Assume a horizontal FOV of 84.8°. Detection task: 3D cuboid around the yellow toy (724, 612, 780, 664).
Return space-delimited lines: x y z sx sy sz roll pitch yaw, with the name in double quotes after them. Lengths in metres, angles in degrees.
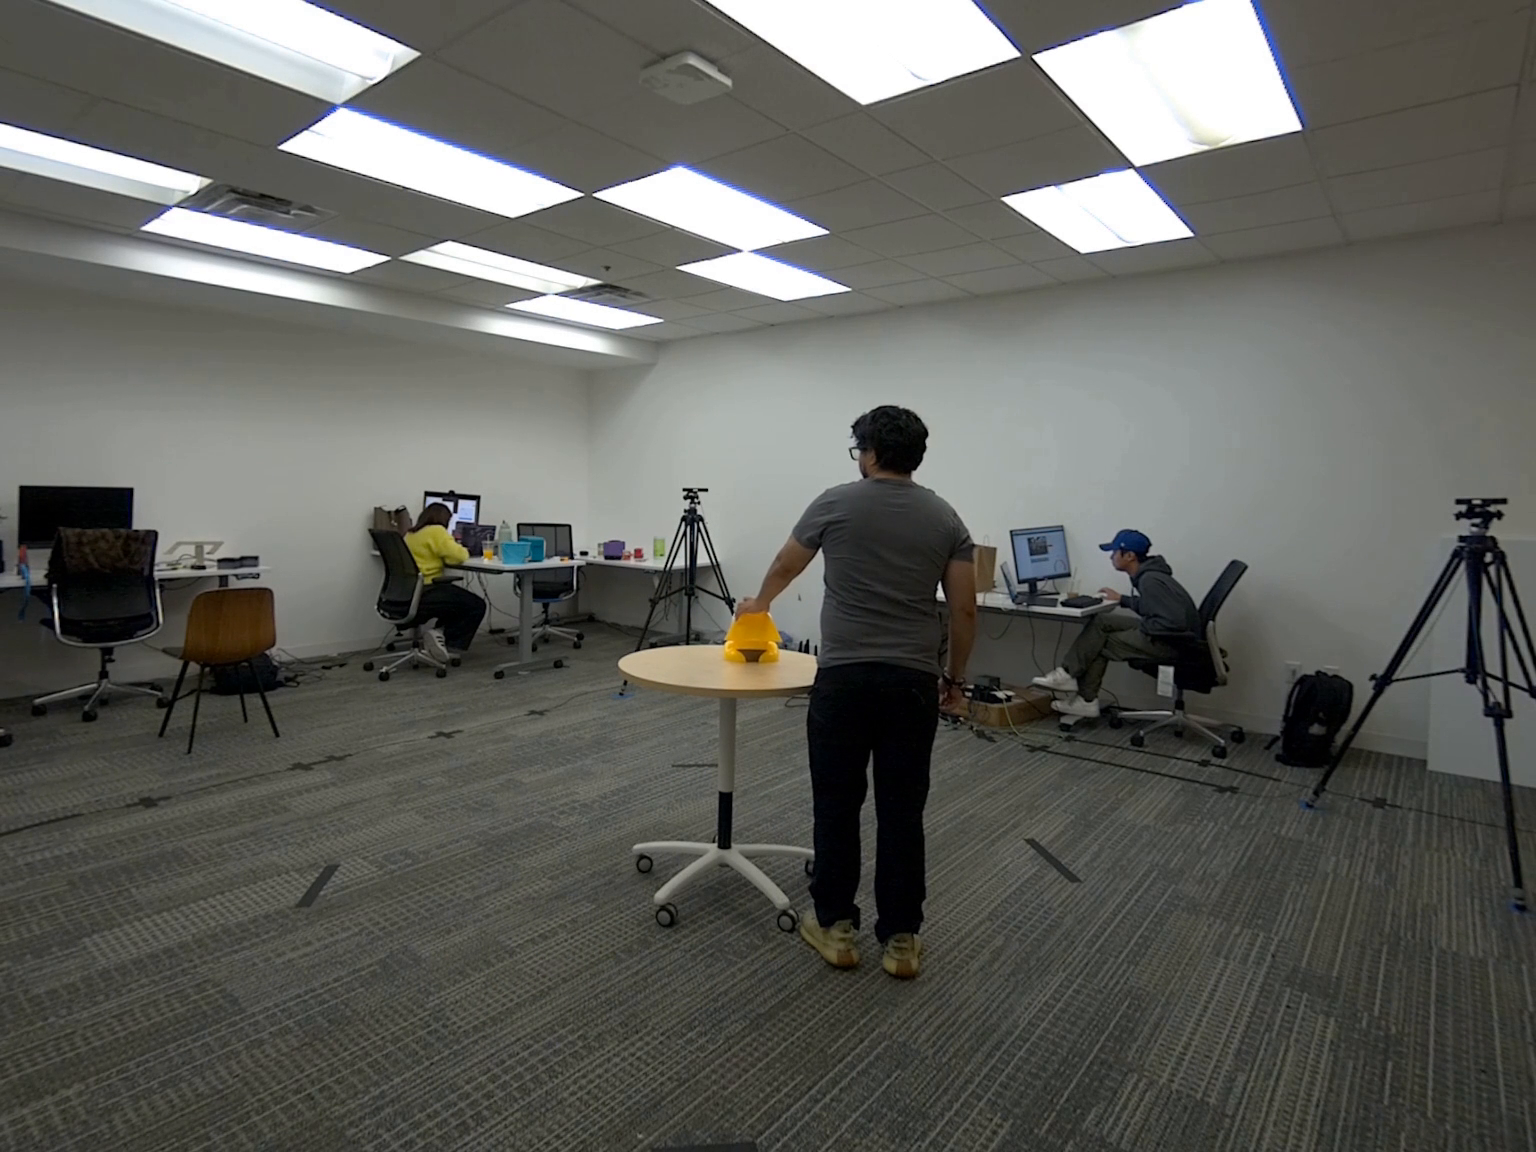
-0.068 0.181 3.067 0.204 0.230 0.194 1 5 -3 "yellow toy"
